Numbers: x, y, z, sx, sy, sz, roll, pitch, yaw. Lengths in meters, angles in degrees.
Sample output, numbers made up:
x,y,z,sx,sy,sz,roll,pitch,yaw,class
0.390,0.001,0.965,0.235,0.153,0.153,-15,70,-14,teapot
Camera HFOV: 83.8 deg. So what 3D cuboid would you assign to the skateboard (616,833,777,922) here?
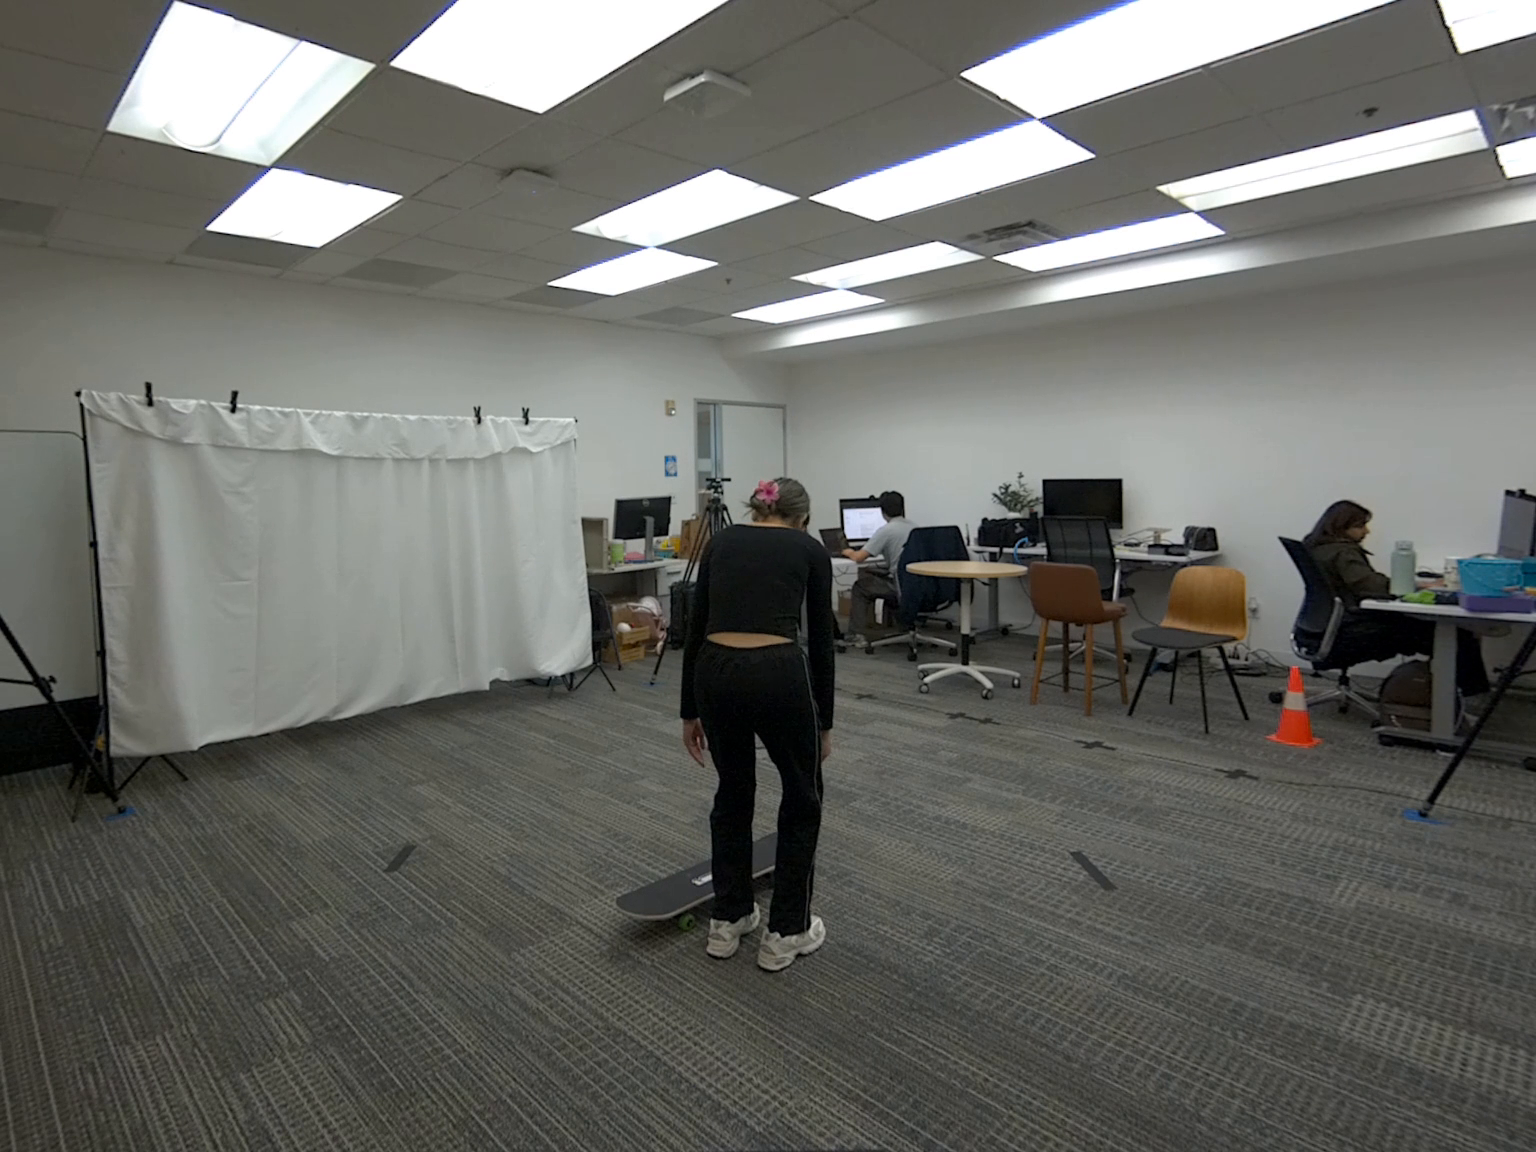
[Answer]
x,y,z,sx,sy,sz,roll,pitch,yaw,class
-0.168,1.022,2.840,0.765,0.110,0.199,-7,8,-44,skateboard
